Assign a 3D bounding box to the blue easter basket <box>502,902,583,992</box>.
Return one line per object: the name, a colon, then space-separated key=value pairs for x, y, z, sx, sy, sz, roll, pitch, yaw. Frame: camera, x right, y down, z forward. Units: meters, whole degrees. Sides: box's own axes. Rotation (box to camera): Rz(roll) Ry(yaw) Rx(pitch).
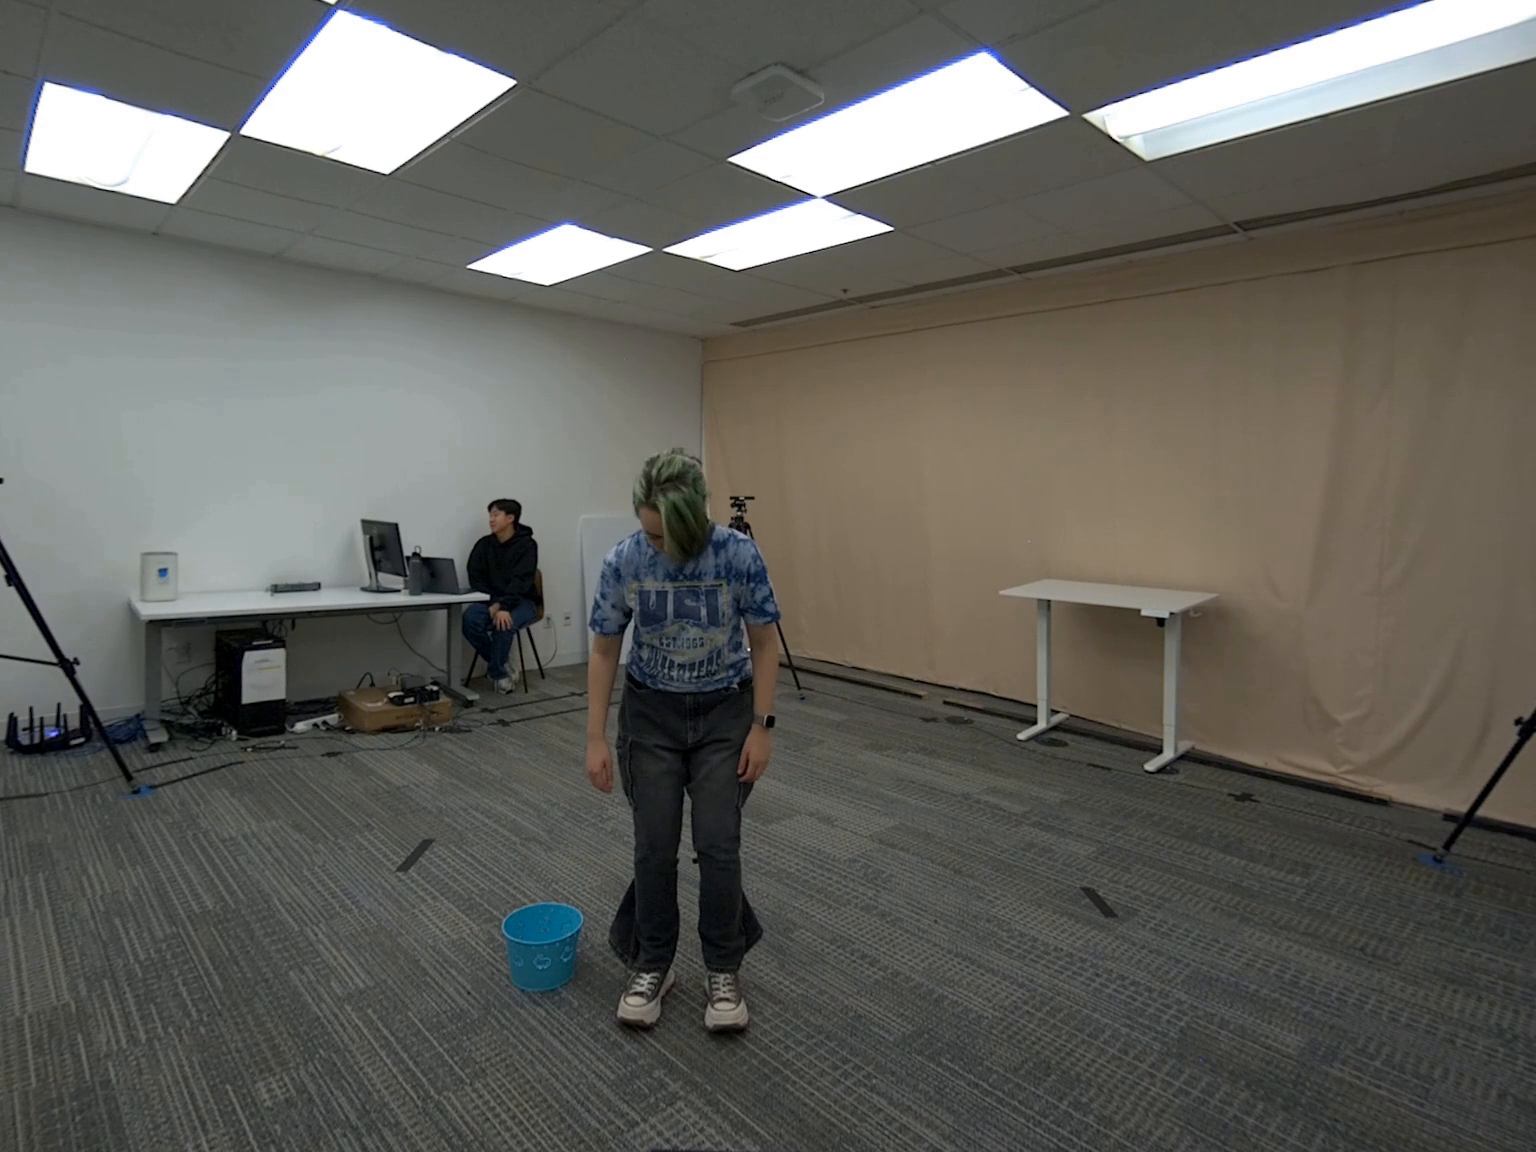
blue easter basket: x=-0.660 y=1.078 z=2.435 sx=0.243 sy=0.155 sz=0.244 roll=2 pitch=5 yaw=-2
